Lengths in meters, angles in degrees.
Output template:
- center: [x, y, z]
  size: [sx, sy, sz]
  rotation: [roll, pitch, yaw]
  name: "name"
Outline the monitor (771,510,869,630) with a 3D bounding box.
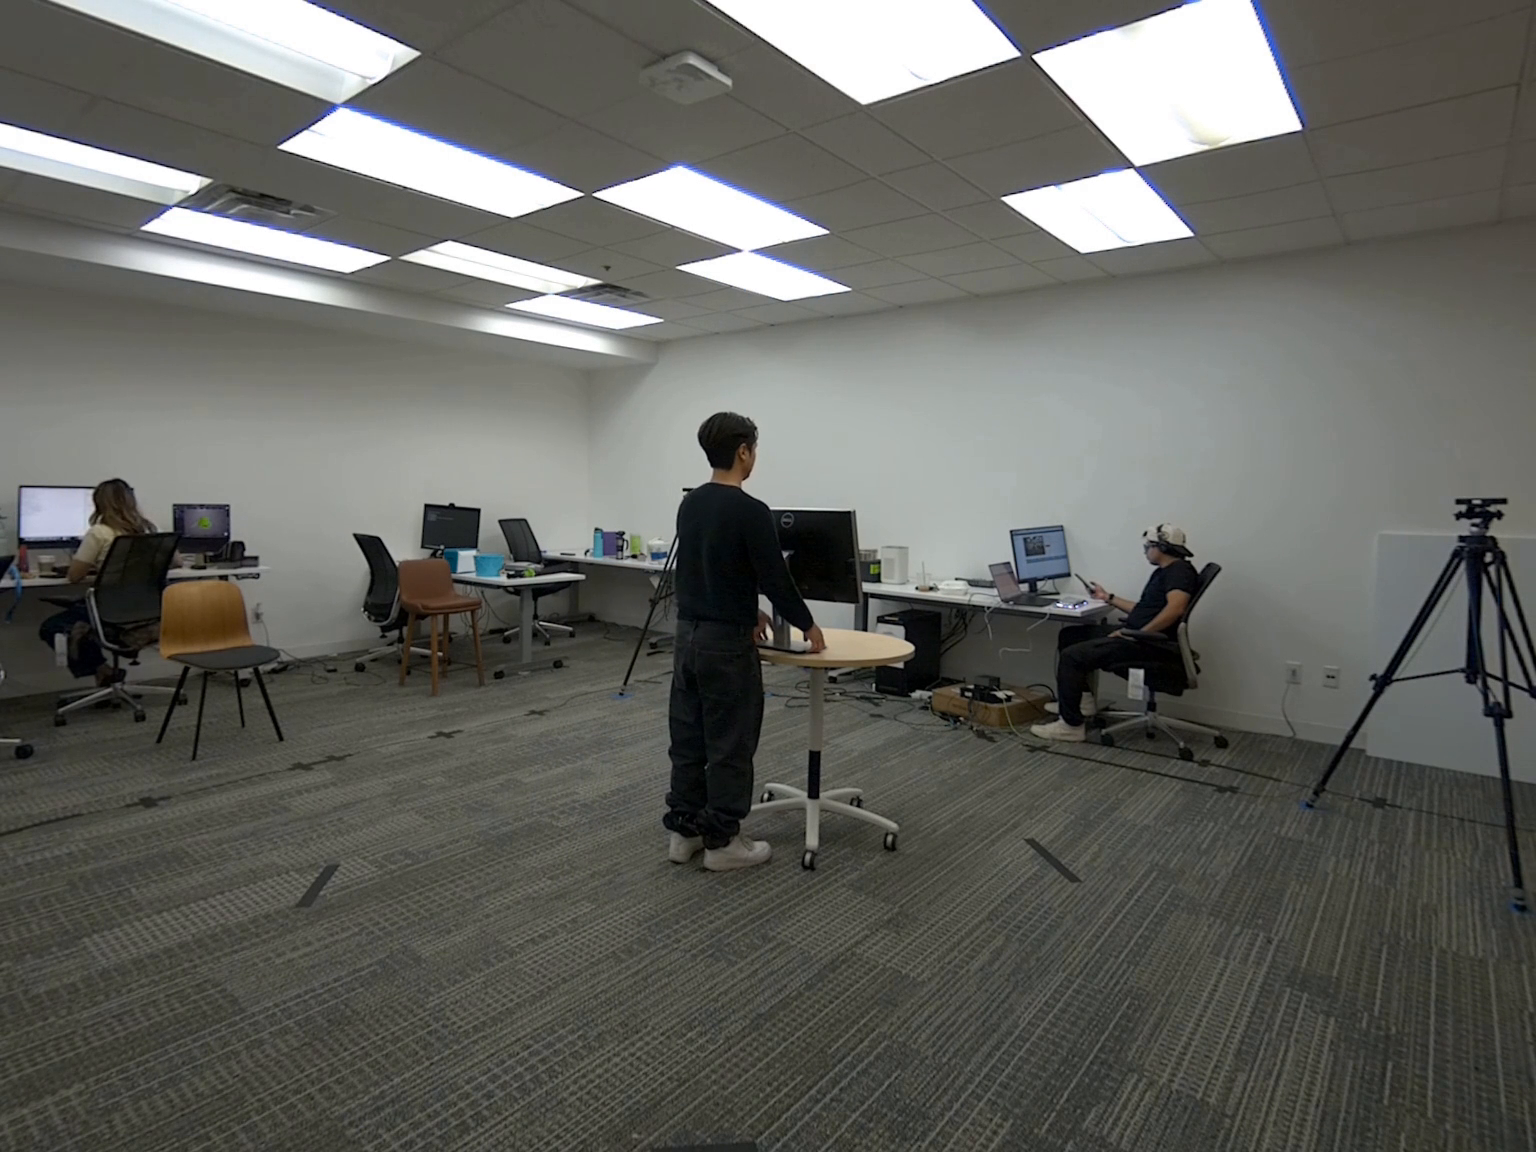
- center: [0.078, 0.007, 3.296]
  size: [0.556, 0.521, 0.182]
  rotation: [3, 4, 34]
  name: "monitor"
